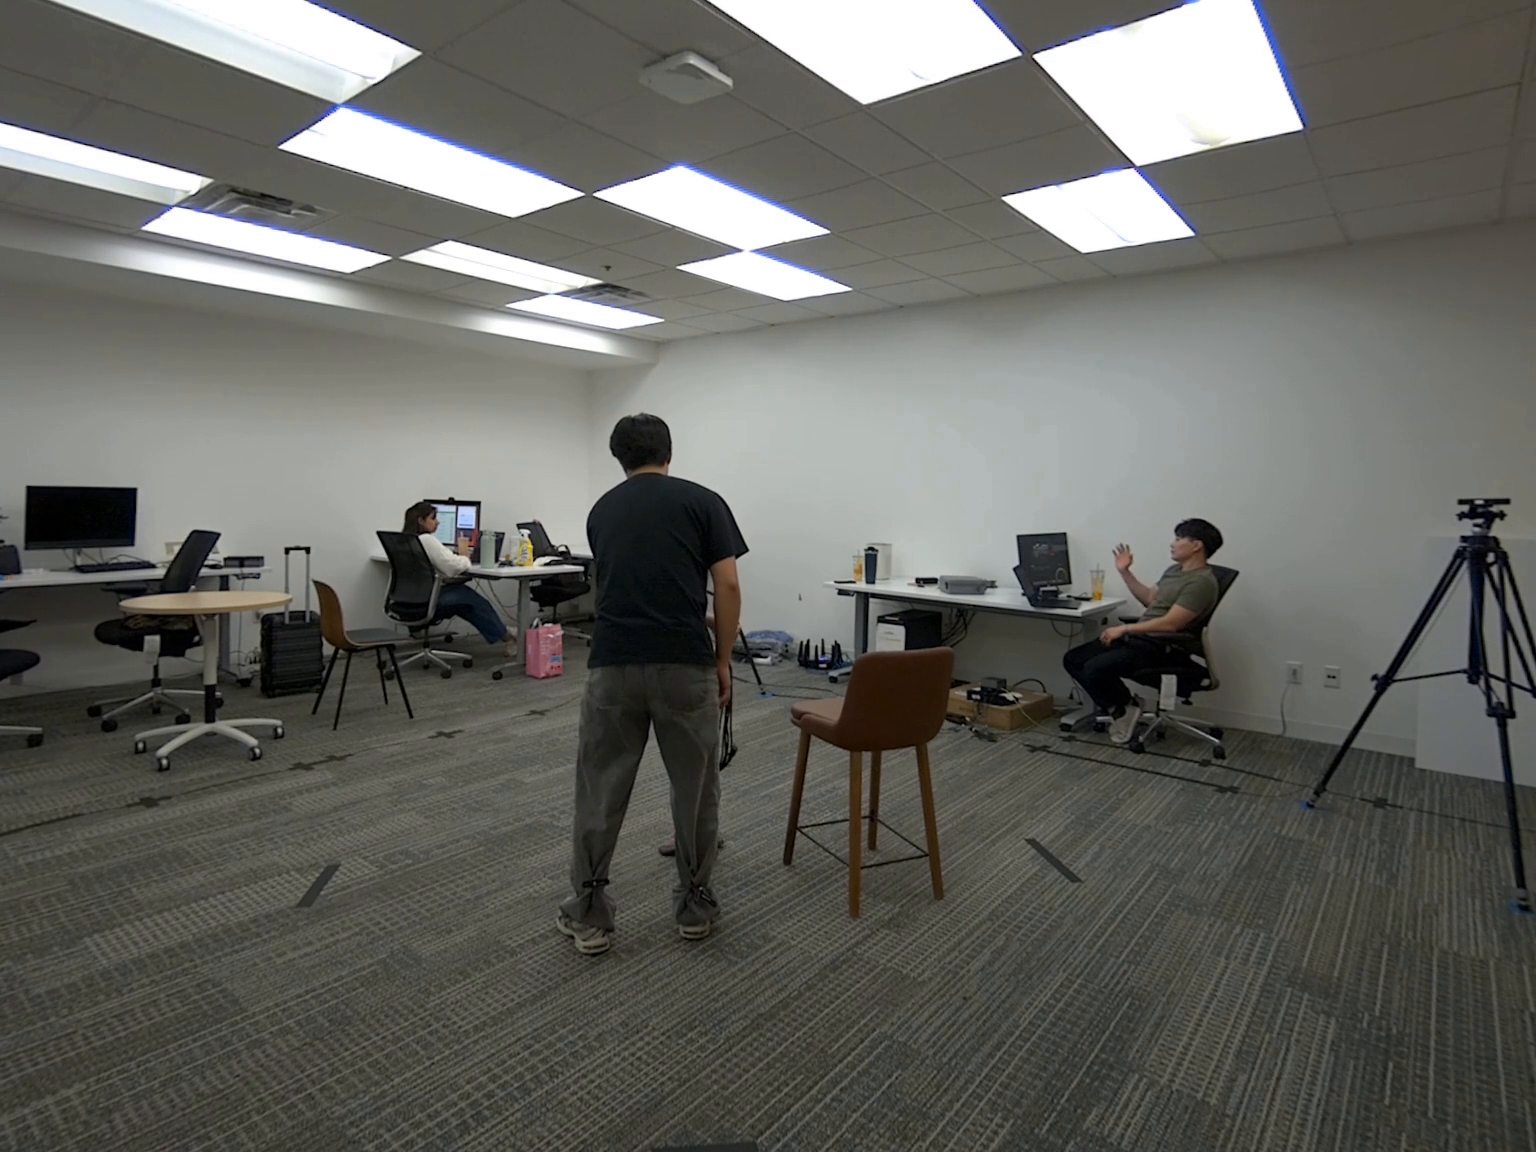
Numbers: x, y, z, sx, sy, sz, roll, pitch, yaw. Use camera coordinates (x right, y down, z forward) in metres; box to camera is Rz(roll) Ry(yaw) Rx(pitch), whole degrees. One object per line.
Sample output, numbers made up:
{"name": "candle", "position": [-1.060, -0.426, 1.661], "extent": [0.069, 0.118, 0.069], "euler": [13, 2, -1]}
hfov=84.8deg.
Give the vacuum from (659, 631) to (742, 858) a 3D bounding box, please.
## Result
{"name": "vacuum", "position": [-0.209, 0.598, 3.012], "extent": [0.247, 1.030, 0.150], "euler": [-3, 30, -26]}
